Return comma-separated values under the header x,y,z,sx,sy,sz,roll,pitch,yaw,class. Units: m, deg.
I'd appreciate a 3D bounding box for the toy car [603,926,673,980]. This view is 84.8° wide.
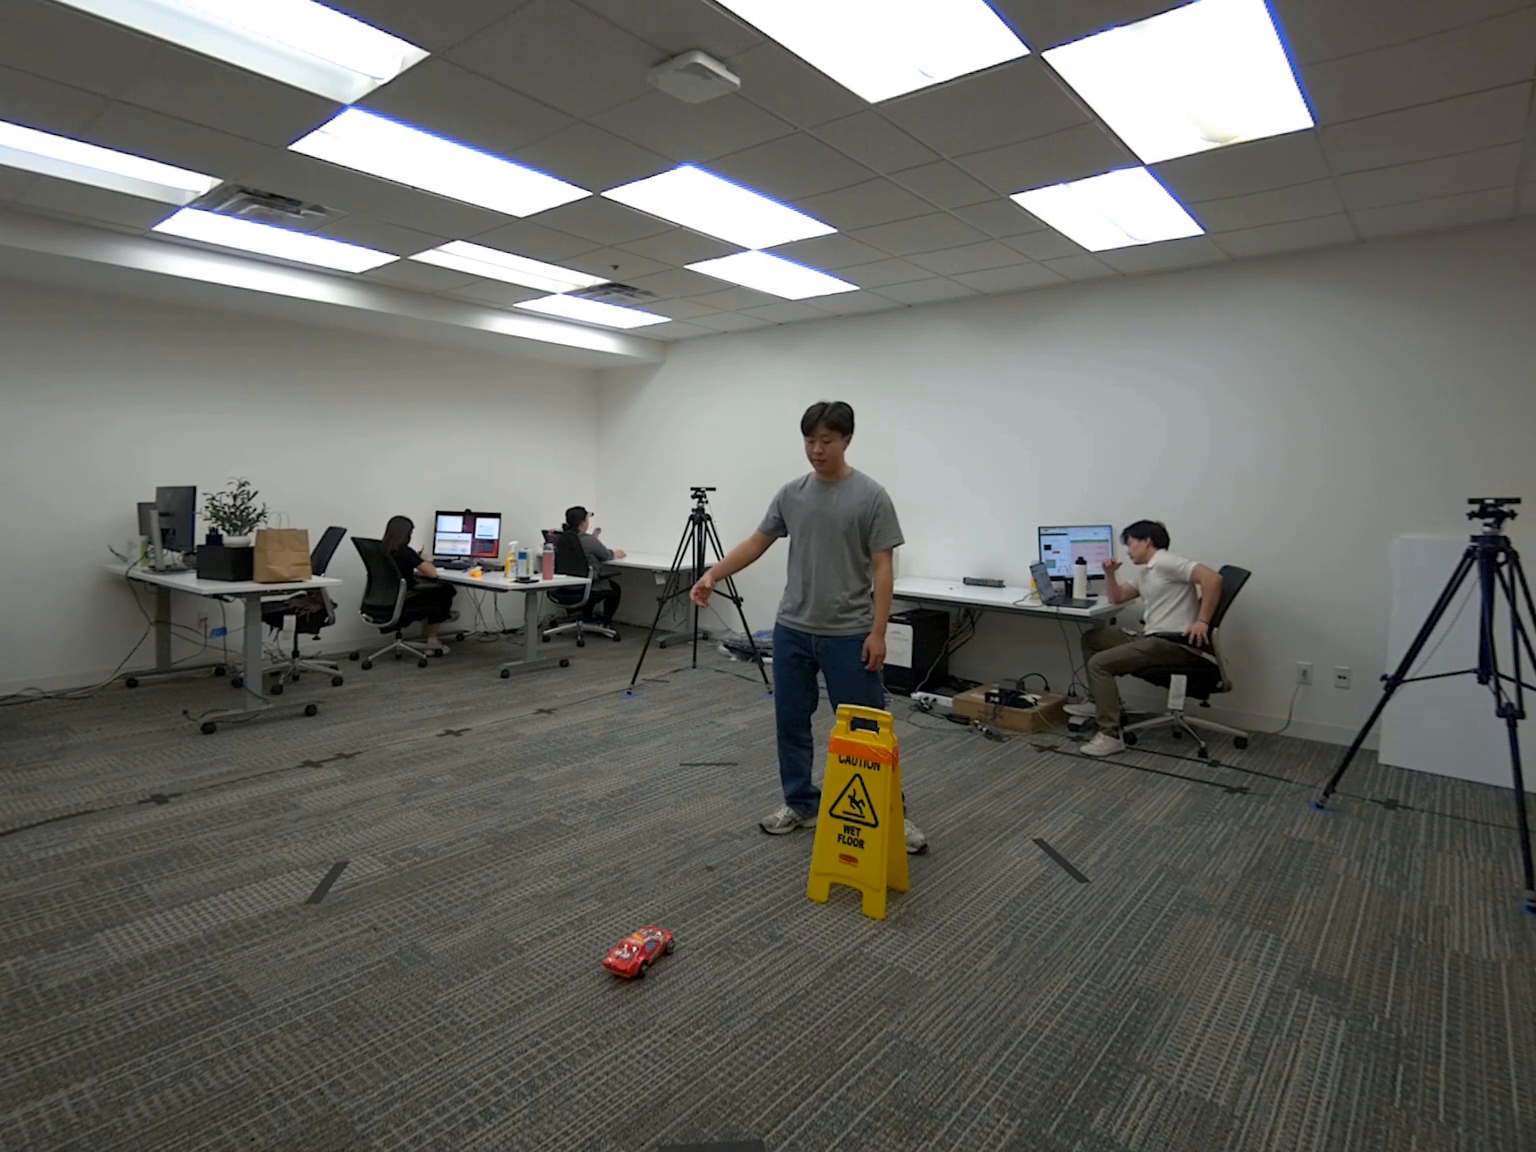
x,y,z,sx,sy,sz,roll,pitch,yaw,class
-0.389,1.095,2.469,0.134,0.083,0.246,4,-4,26,toy car
